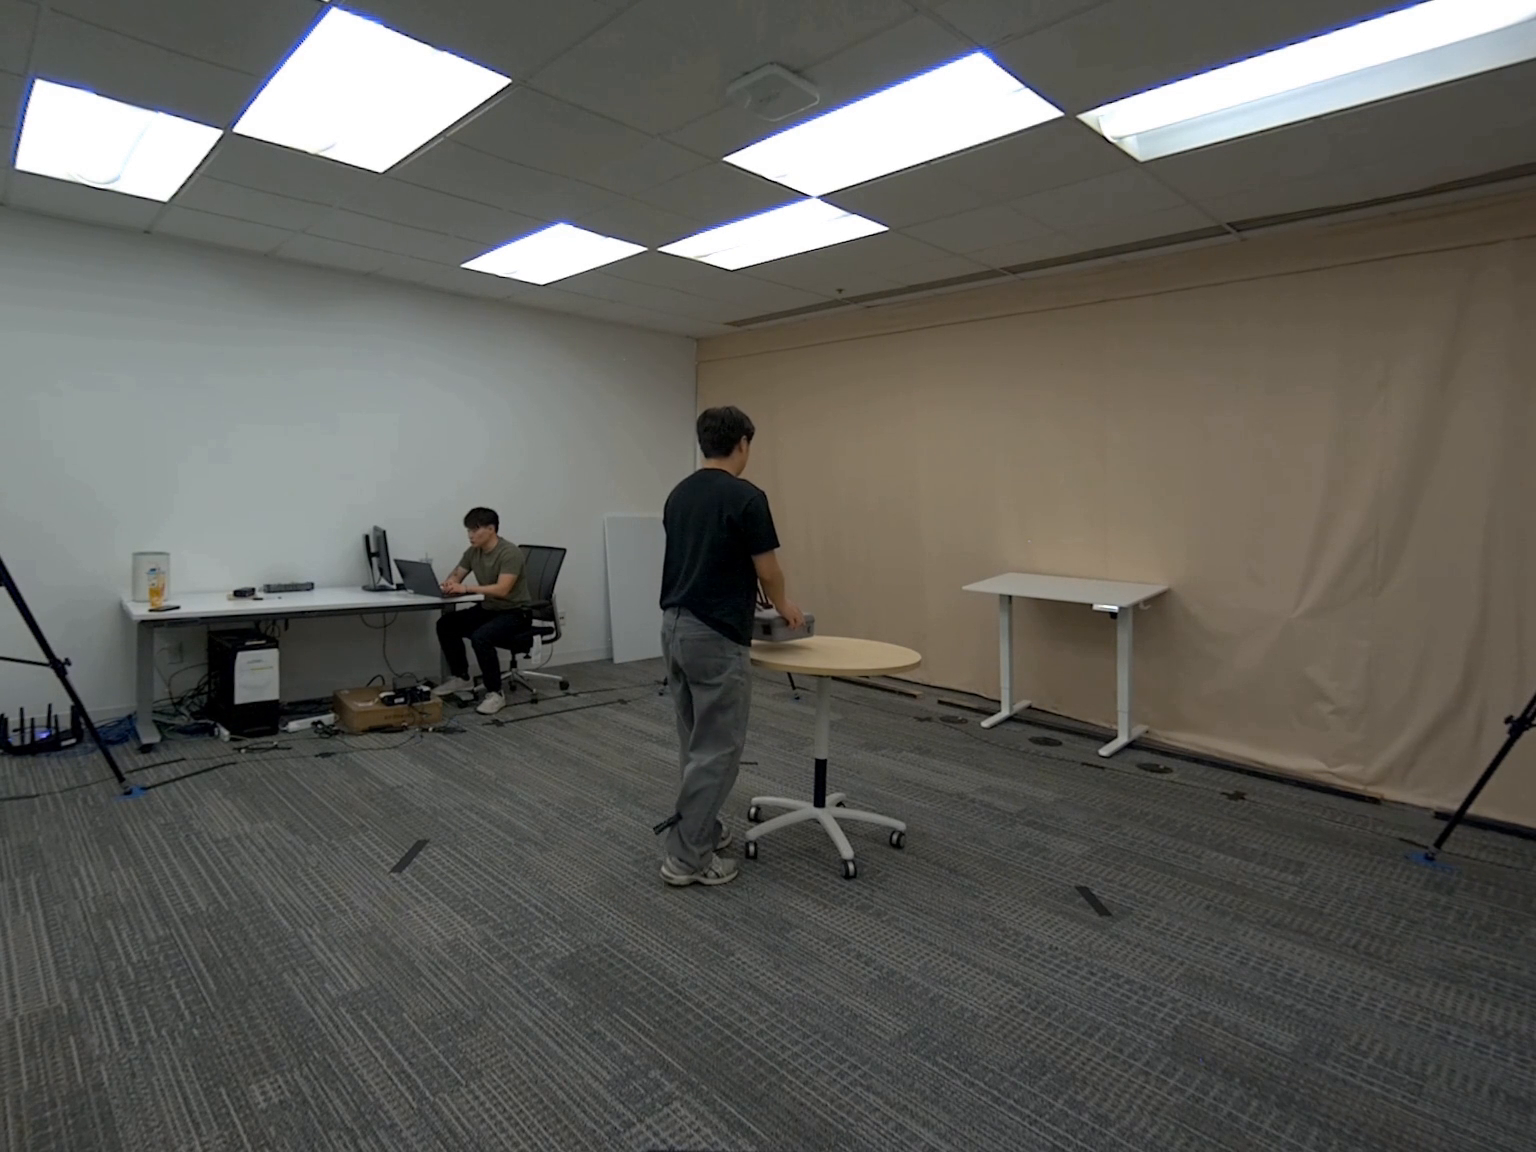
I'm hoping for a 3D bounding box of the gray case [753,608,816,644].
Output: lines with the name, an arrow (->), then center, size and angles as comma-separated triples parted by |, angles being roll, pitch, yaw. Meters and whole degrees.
gray case -> 0.022, 0.204, 3.459 | 0.281, 0.103, 0.270 | -4, 5, -43
